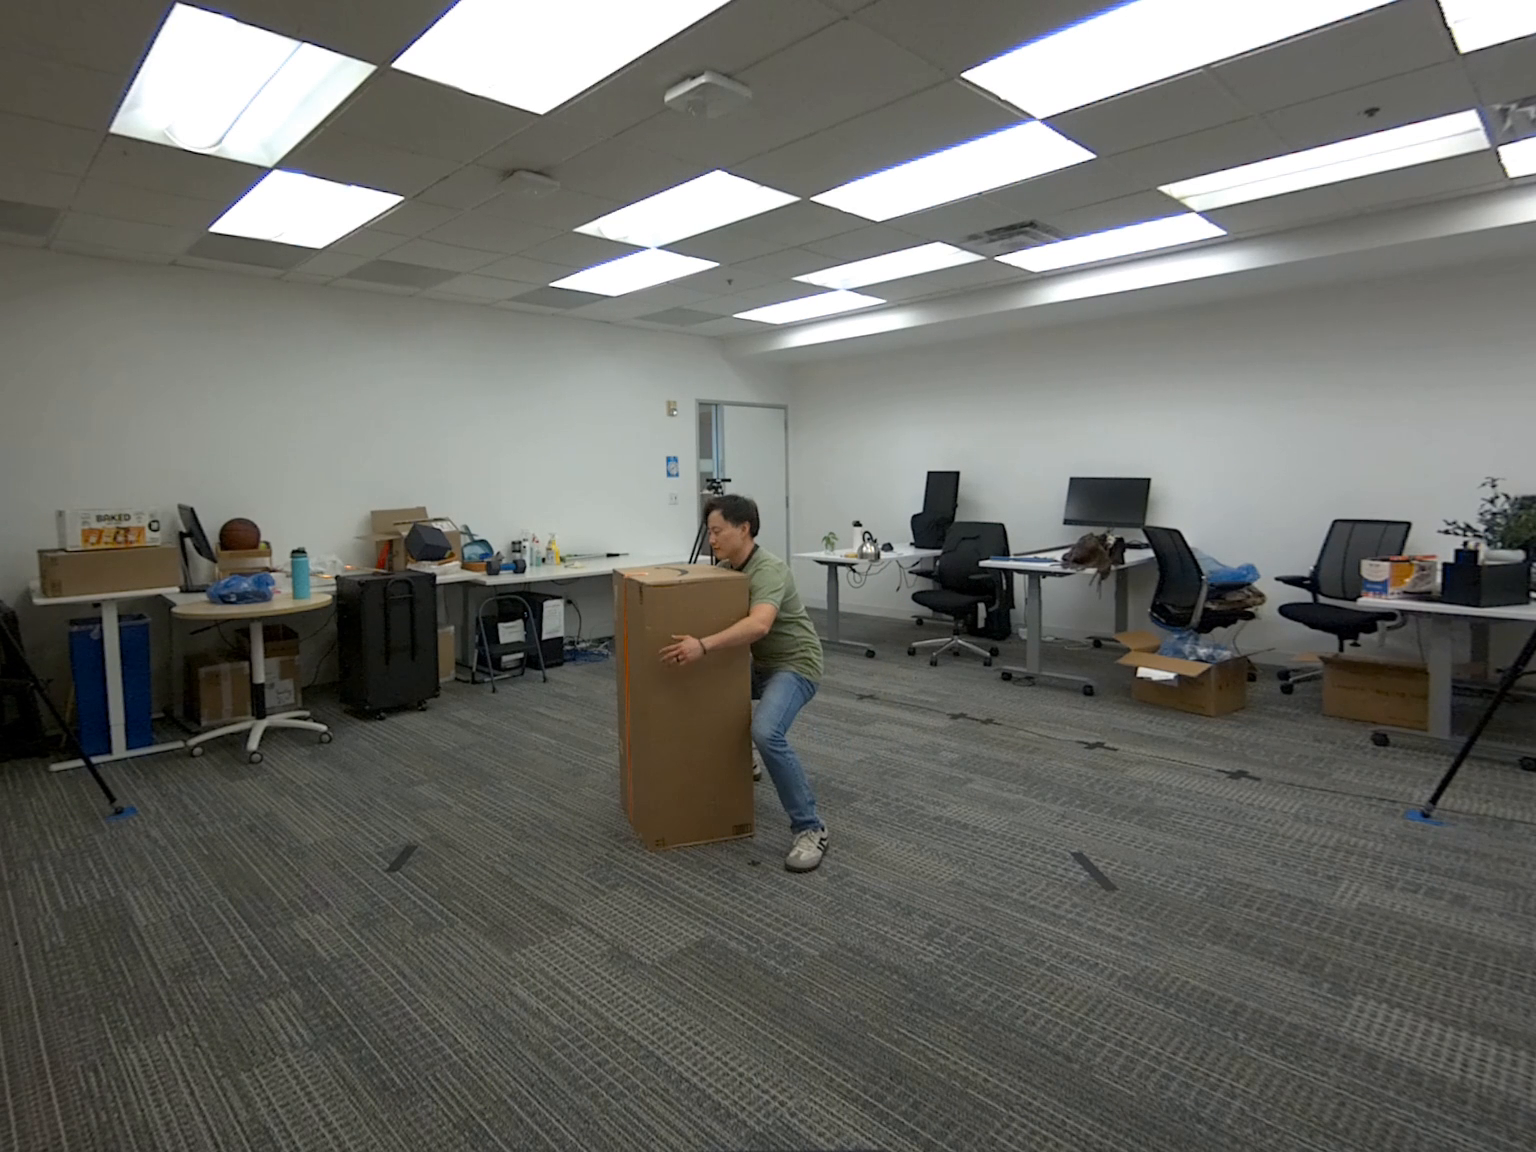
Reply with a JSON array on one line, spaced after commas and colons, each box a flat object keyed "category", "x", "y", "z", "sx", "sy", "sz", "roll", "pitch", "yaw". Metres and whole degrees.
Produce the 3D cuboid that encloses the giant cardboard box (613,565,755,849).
[{"category": "giant cardboard box", "x": -0.367, "y": 0.493, "z": 3.506, "sx": 0.419, "sy": 1.022, "sz": 0.590, "roll": -3, "pitch": 4, "yaw": -20}]
